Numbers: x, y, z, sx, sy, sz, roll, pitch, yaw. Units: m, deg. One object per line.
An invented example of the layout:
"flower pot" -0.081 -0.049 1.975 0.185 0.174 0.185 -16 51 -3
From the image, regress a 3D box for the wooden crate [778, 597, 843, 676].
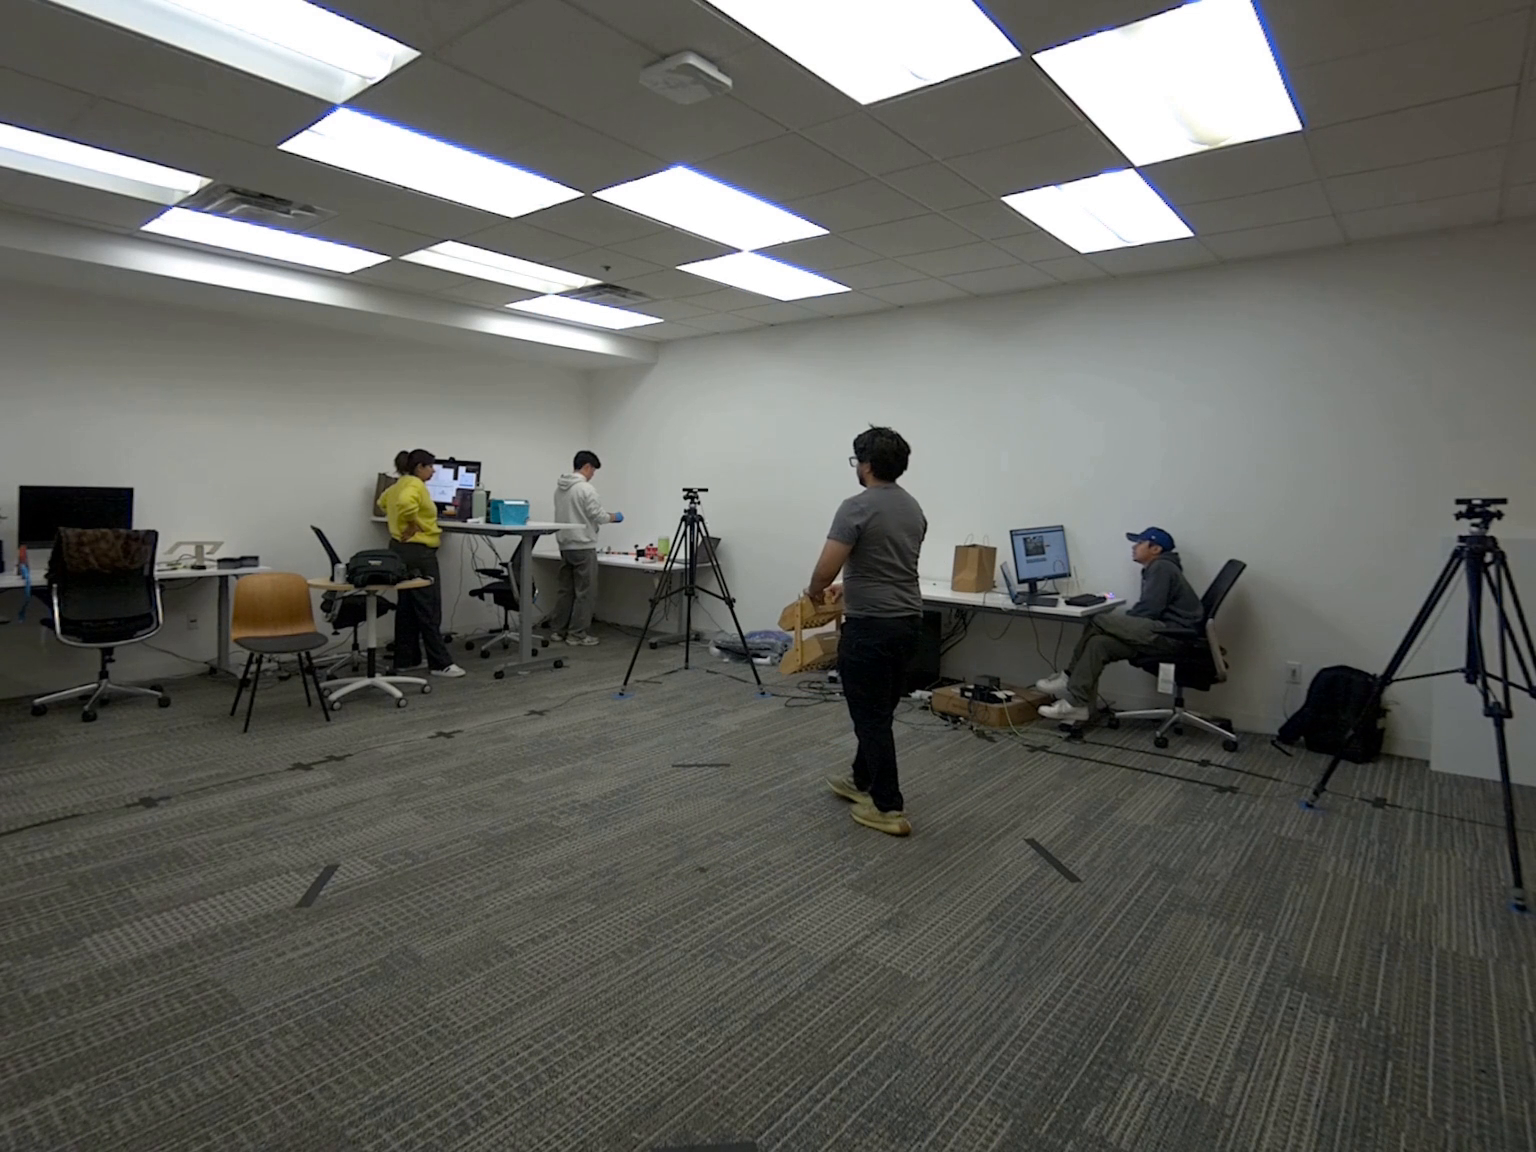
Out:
"wooden crate" 0.188 0.253 3.808 0.304 0.280 0.314 -35 -20 34
